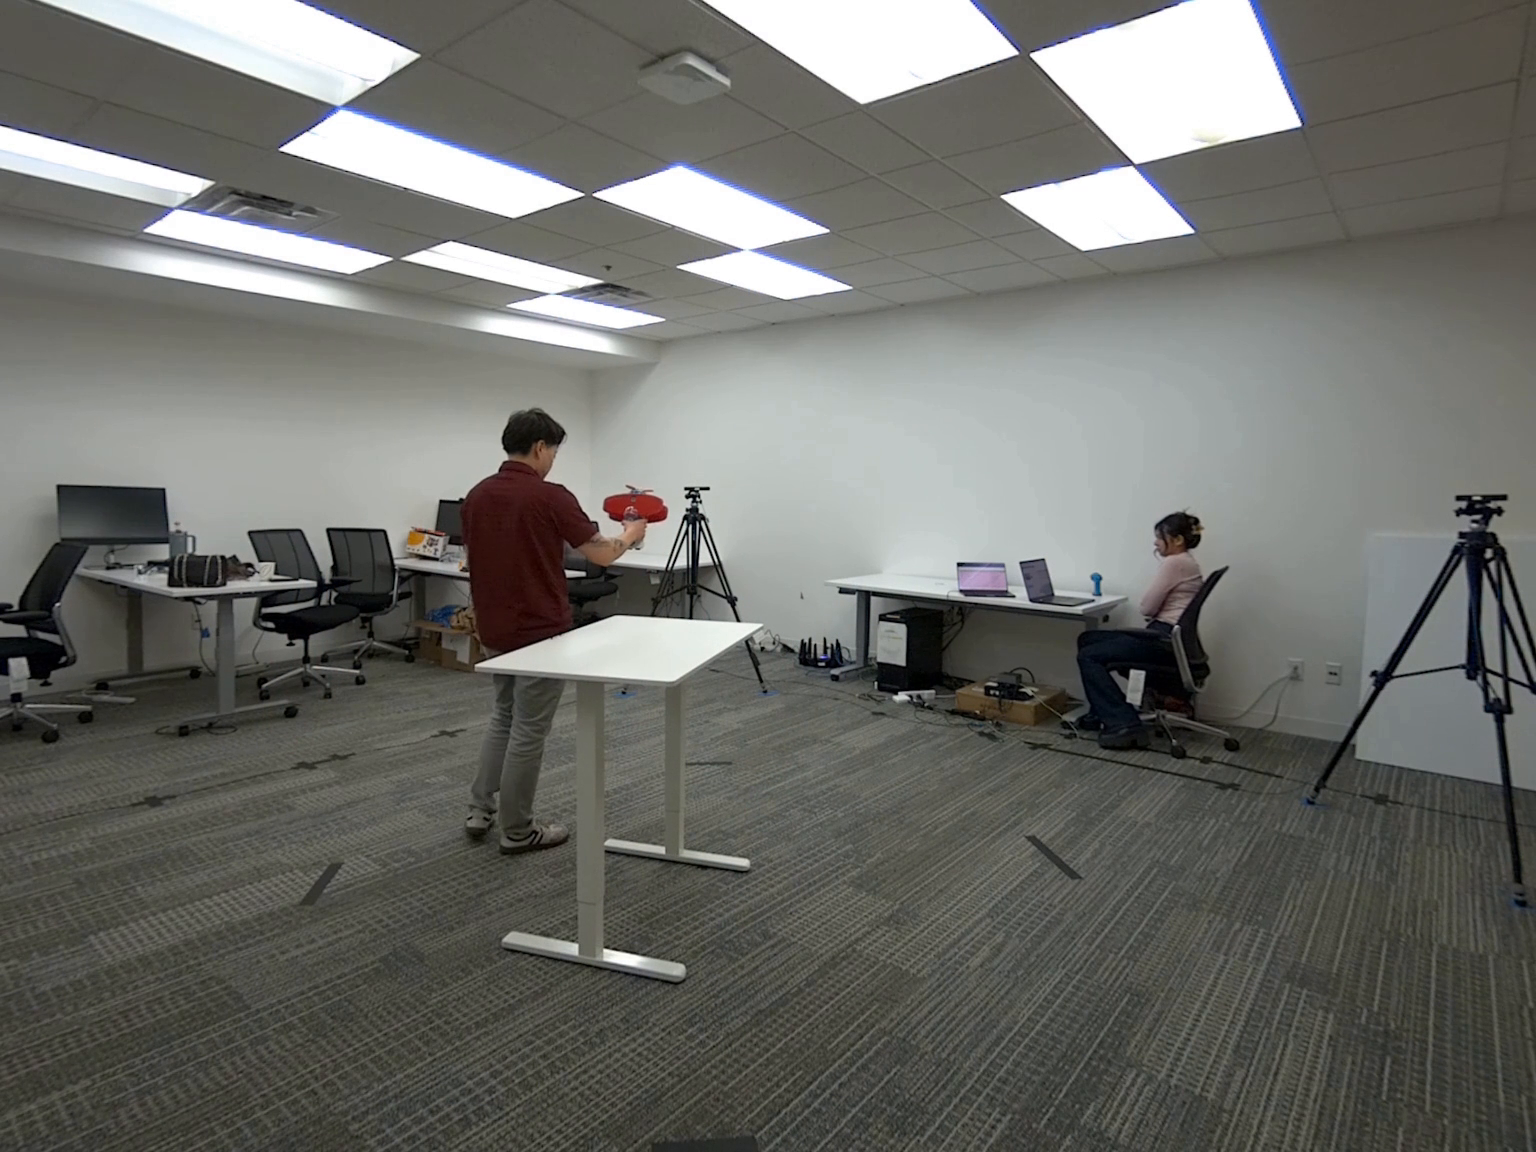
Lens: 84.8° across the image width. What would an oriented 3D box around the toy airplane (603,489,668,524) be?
[{"bbox_3d":[-0.544,-0.241,3.506,0.250,0.269,0.151,-21,-35,-6],"label":"toy airplane"}]
